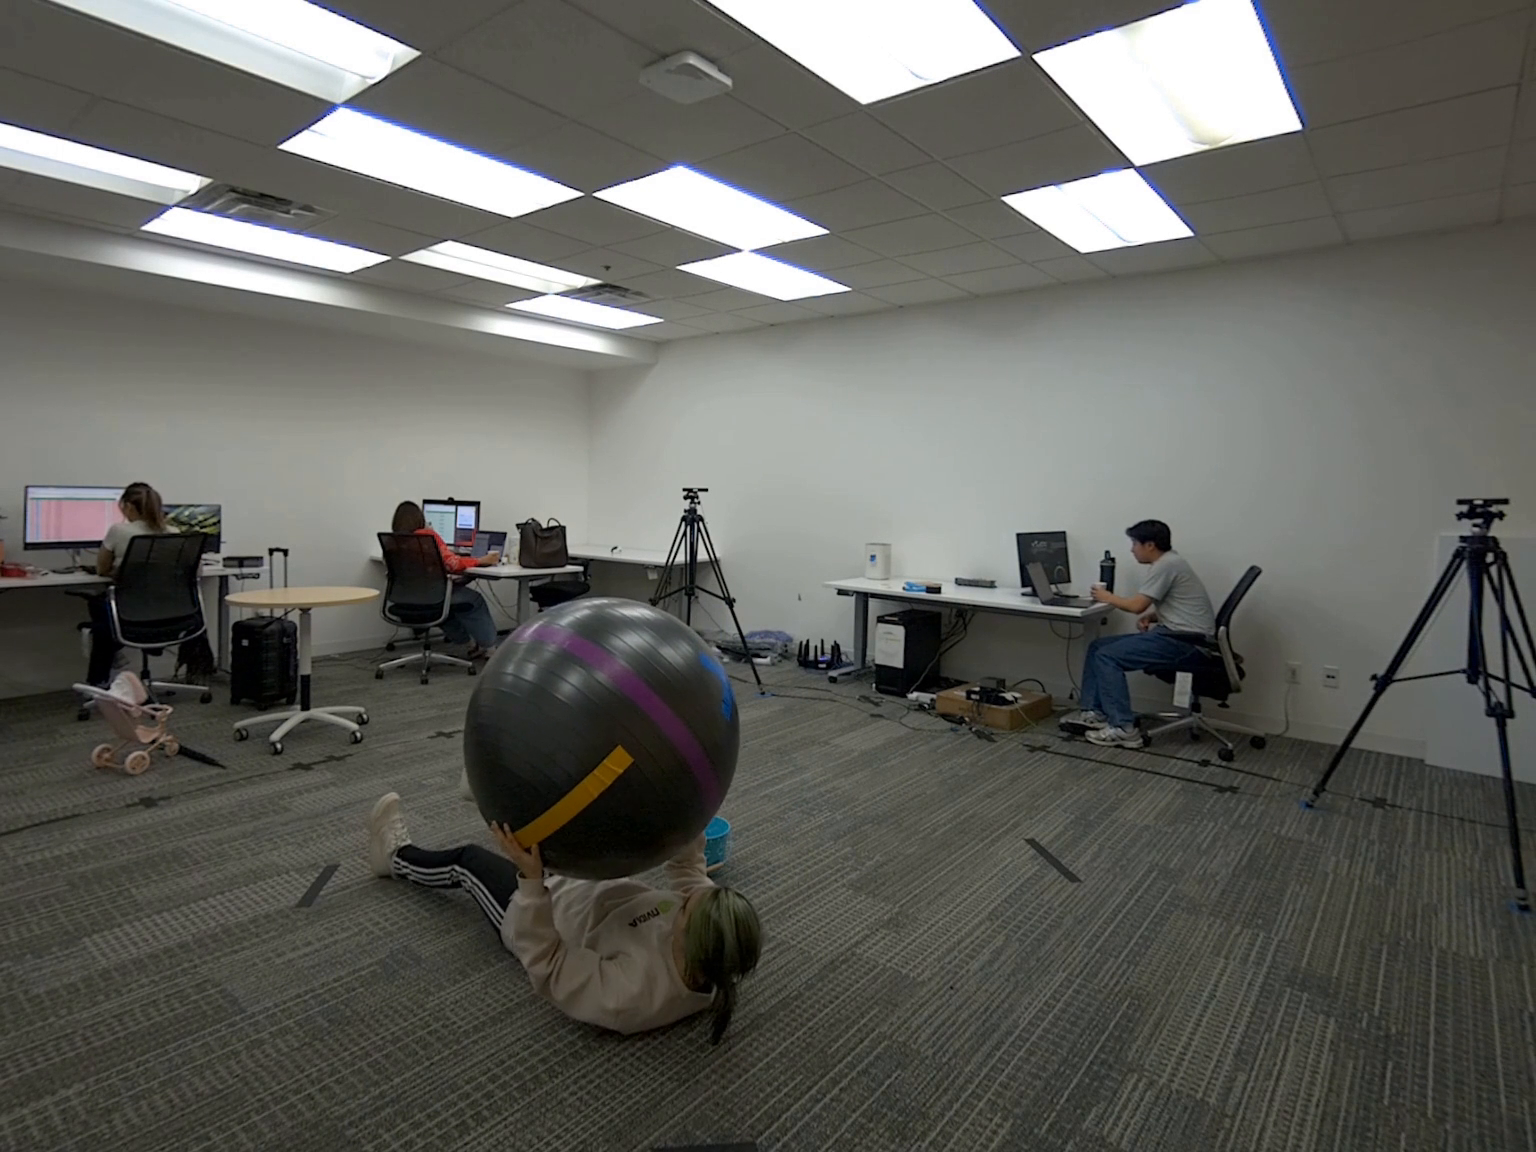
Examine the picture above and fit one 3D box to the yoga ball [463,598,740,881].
[{"bbox_3d":[-0.463,0.438,2.364,0.757,0.755,0.762,1,4,-2],"label":"yoga ball"}]
